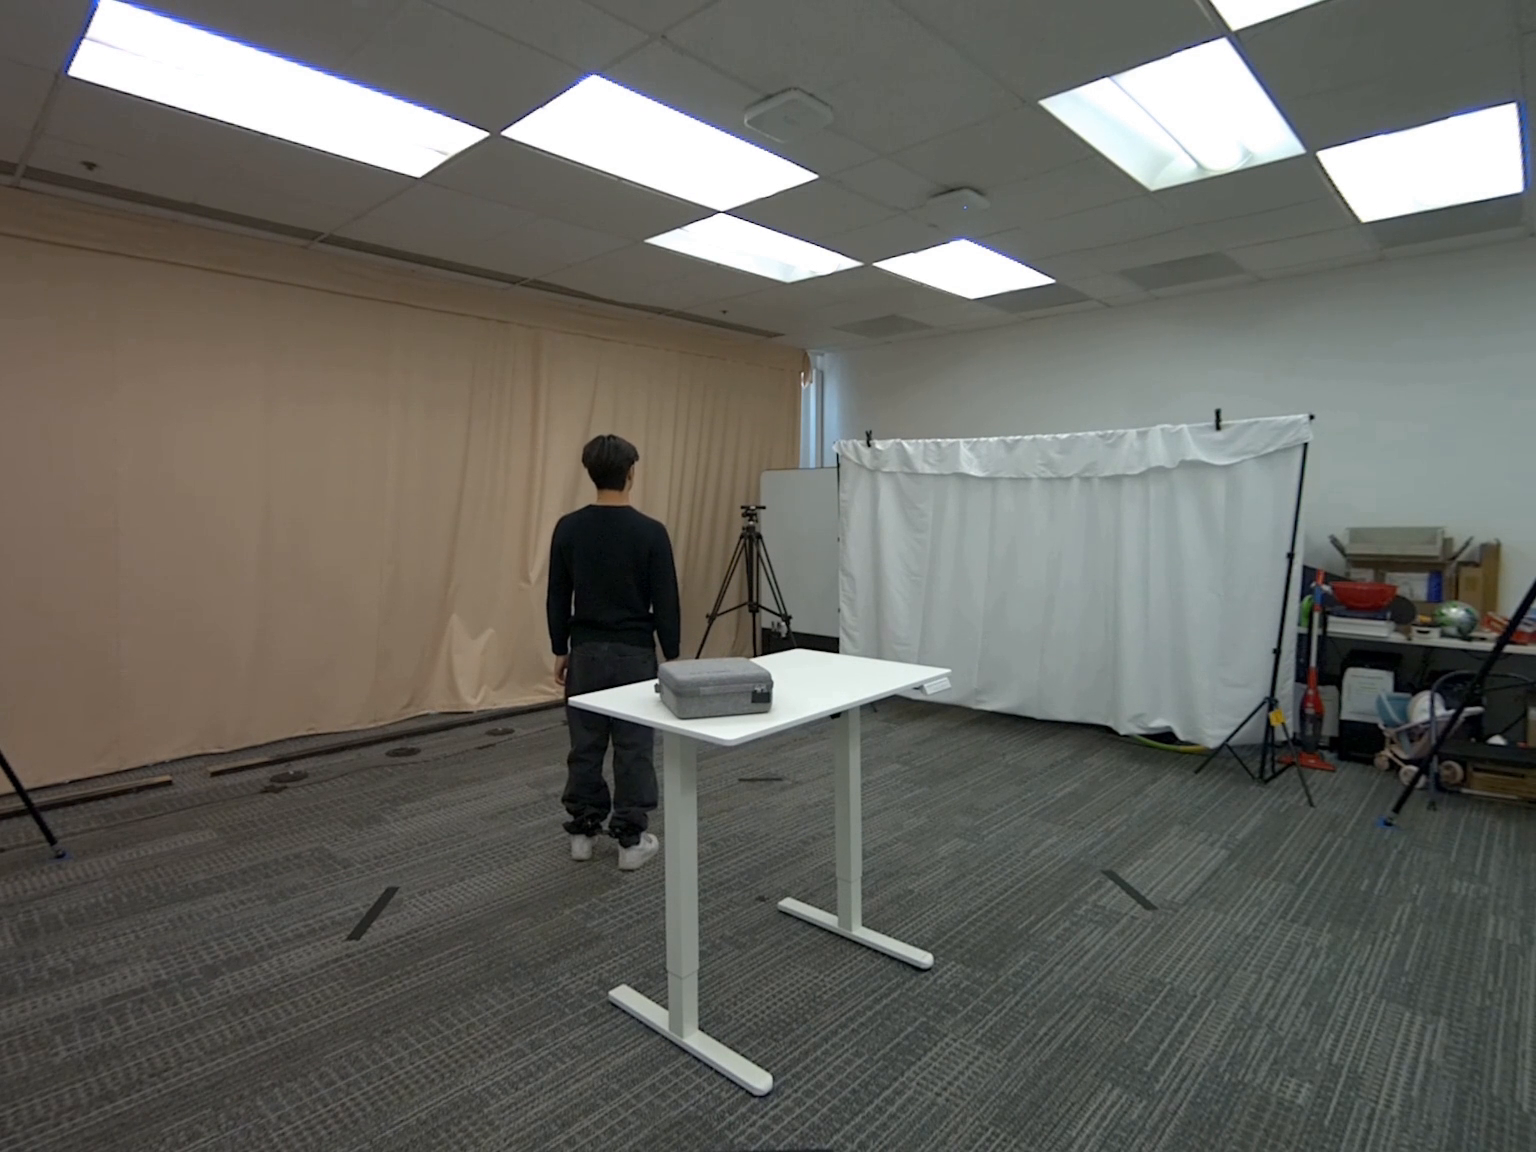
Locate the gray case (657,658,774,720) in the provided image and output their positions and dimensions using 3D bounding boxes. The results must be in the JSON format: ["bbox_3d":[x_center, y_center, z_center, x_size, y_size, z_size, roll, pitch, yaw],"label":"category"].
[{"bbox_3d":[-0.139,0.280,2.155,0.253,0.104,0.265,-2,5,-16],"label":"gray case"}]
